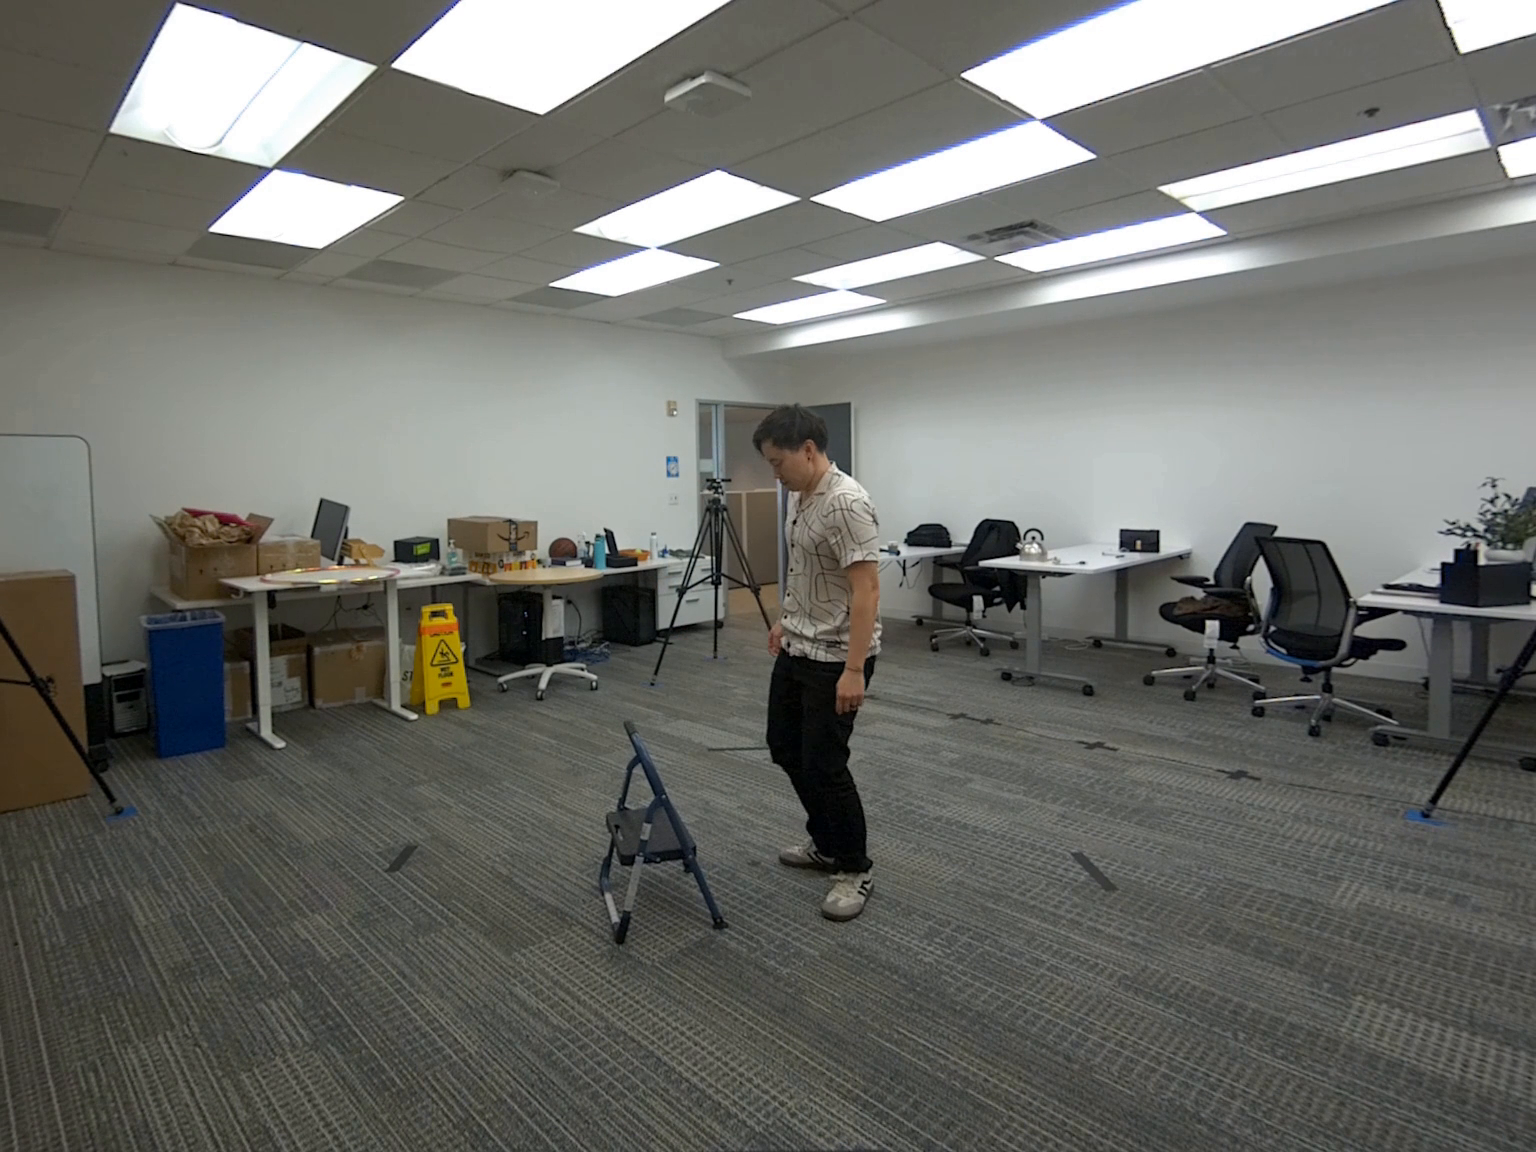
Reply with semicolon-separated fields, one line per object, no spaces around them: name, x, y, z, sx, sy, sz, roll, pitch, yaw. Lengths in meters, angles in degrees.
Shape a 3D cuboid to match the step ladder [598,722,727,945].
step ladder;-0.362;0.785;2.795;0.344;0.604;0.439;-3;5;-18
